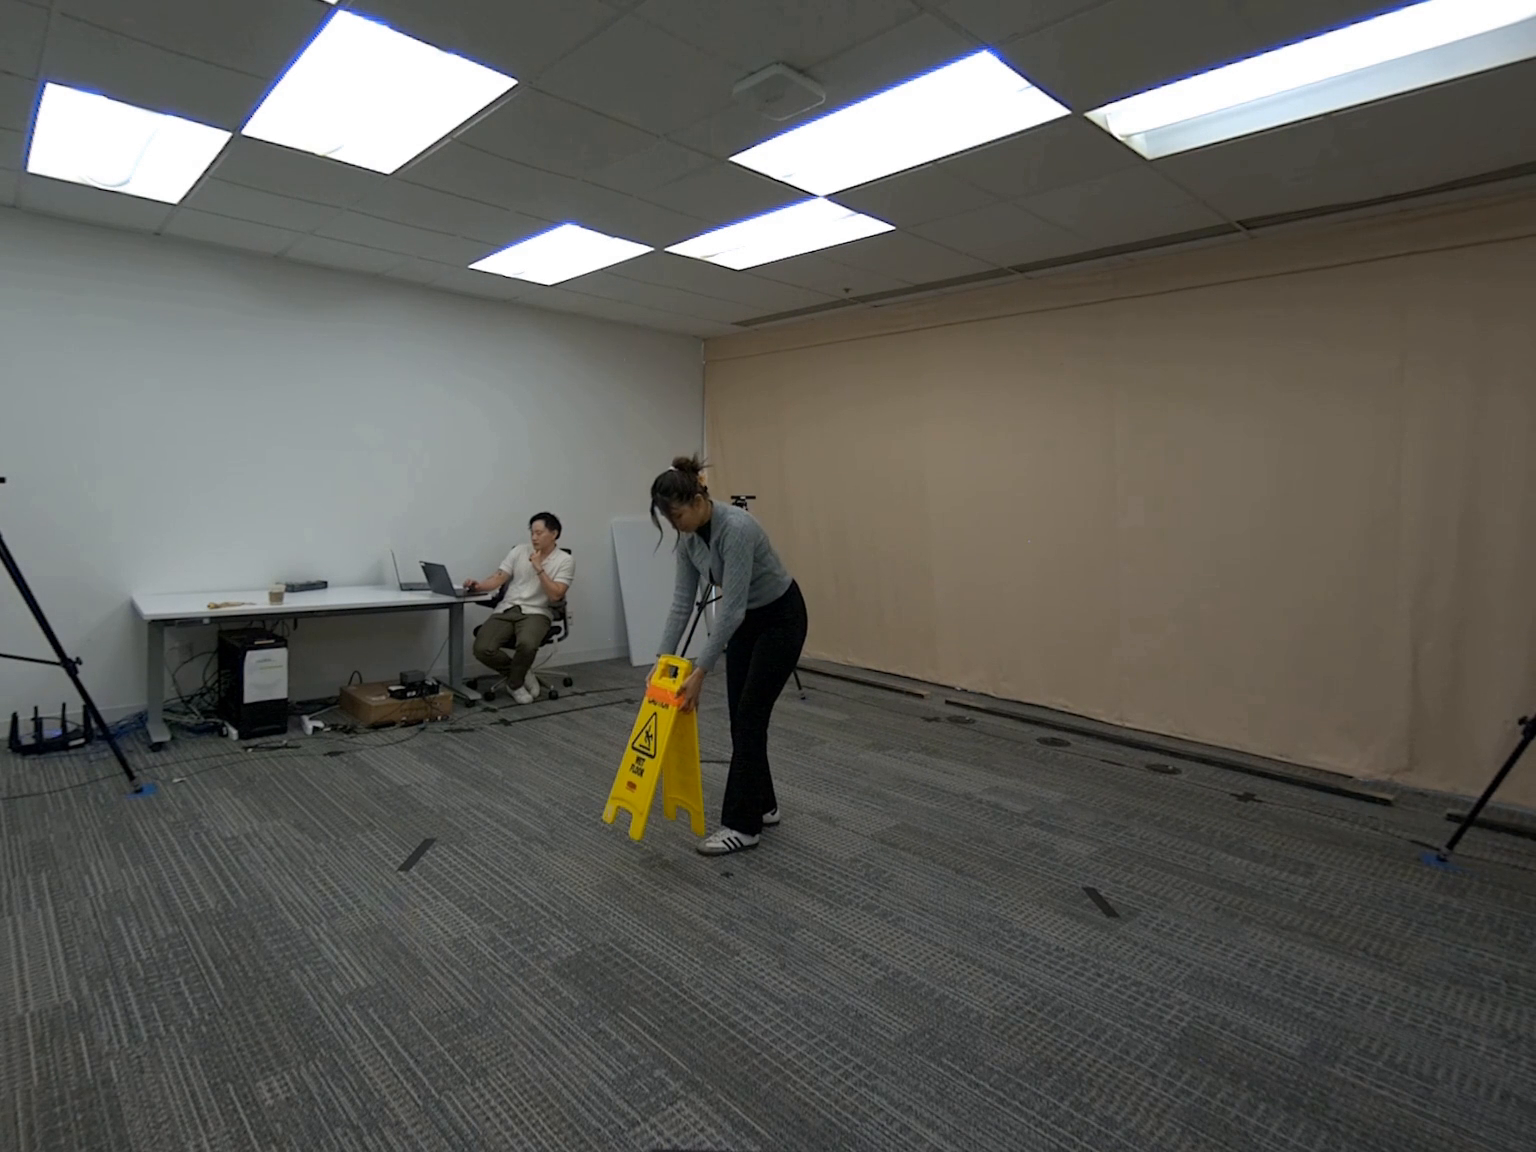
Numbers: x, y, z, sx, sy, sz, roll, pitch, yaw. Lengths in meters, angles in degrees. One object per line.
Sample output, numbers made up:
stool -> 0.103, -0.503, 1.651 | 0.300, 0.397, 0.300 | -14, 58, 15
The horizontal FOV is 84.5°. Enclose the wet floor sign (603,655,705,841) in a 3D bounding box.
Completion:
wet floor sign -> -0.400, 0.629, 3.187 | 0.282, 0.647, 0.289 | 9, -4, -38
